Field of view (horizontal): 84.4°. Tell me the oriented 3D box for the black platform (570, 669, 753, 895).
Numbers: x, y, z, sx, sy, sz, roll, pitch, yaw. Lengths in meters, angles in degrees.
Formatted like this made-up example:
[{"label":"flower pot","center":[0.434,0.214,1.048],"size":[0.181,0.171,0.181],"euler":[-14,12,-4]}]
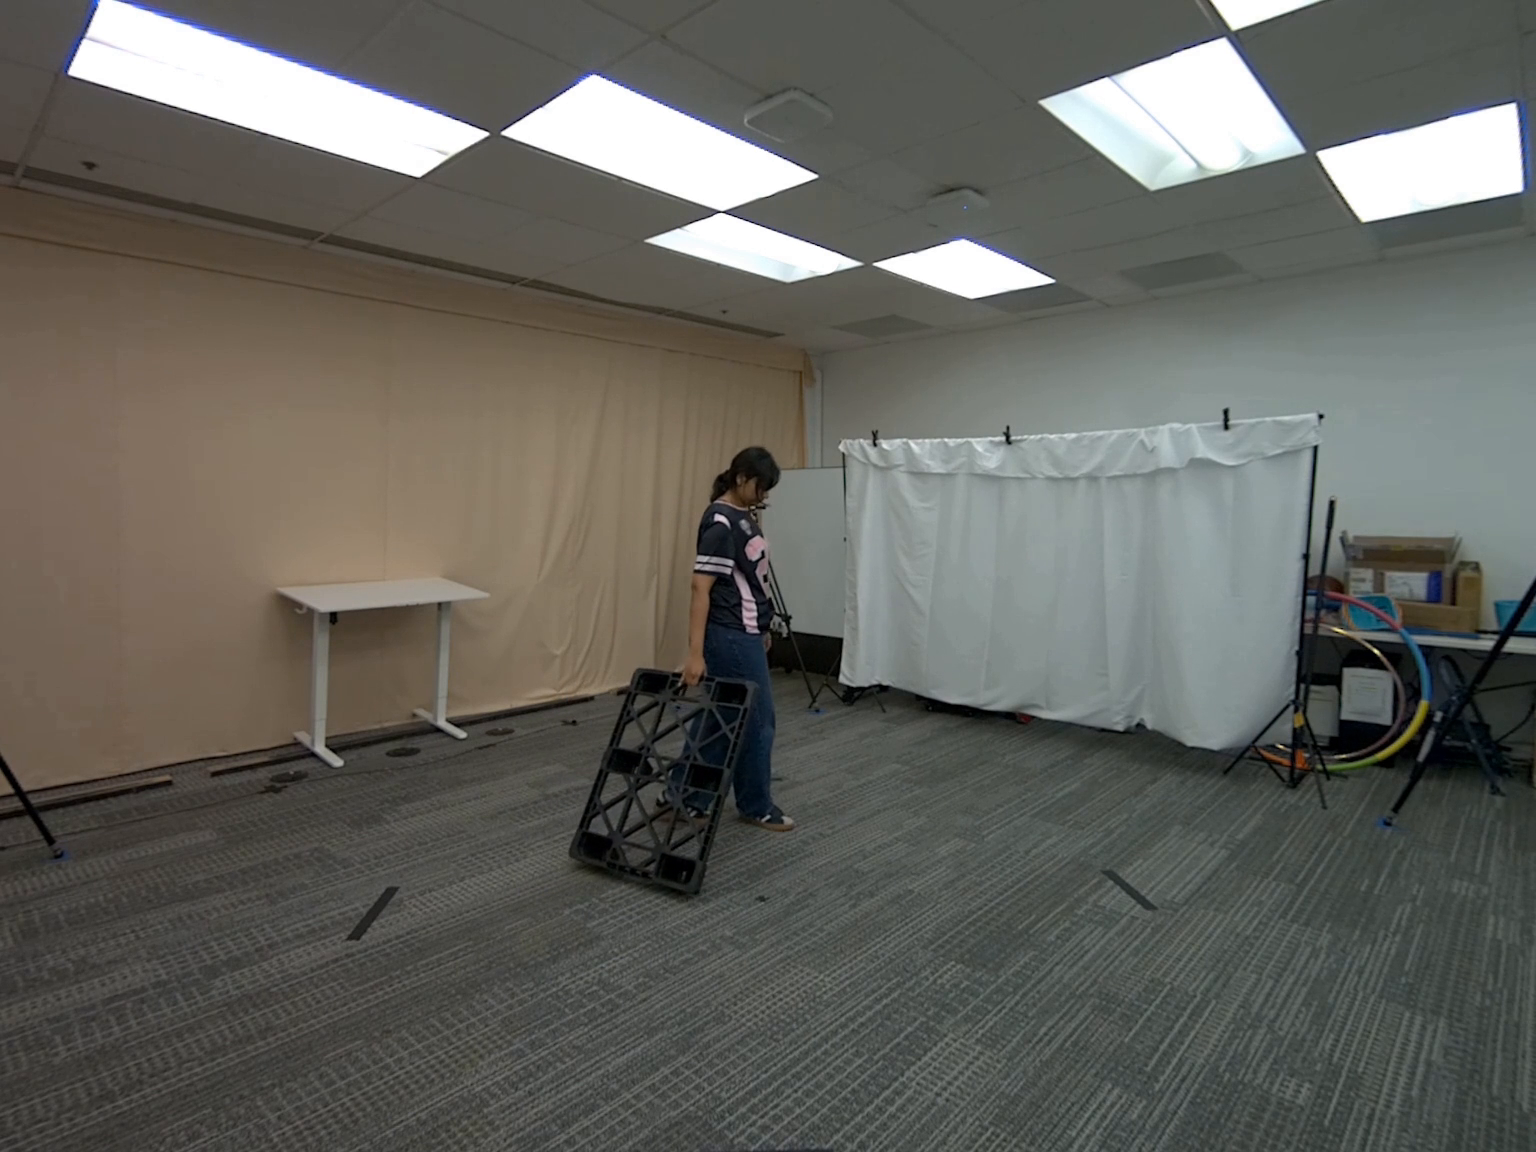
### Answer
[{"label":"black platform","center":[-0.384,0.779,3.305],"size":[0.623,0.810,0.138],"euler":[0,-29,32]}]
